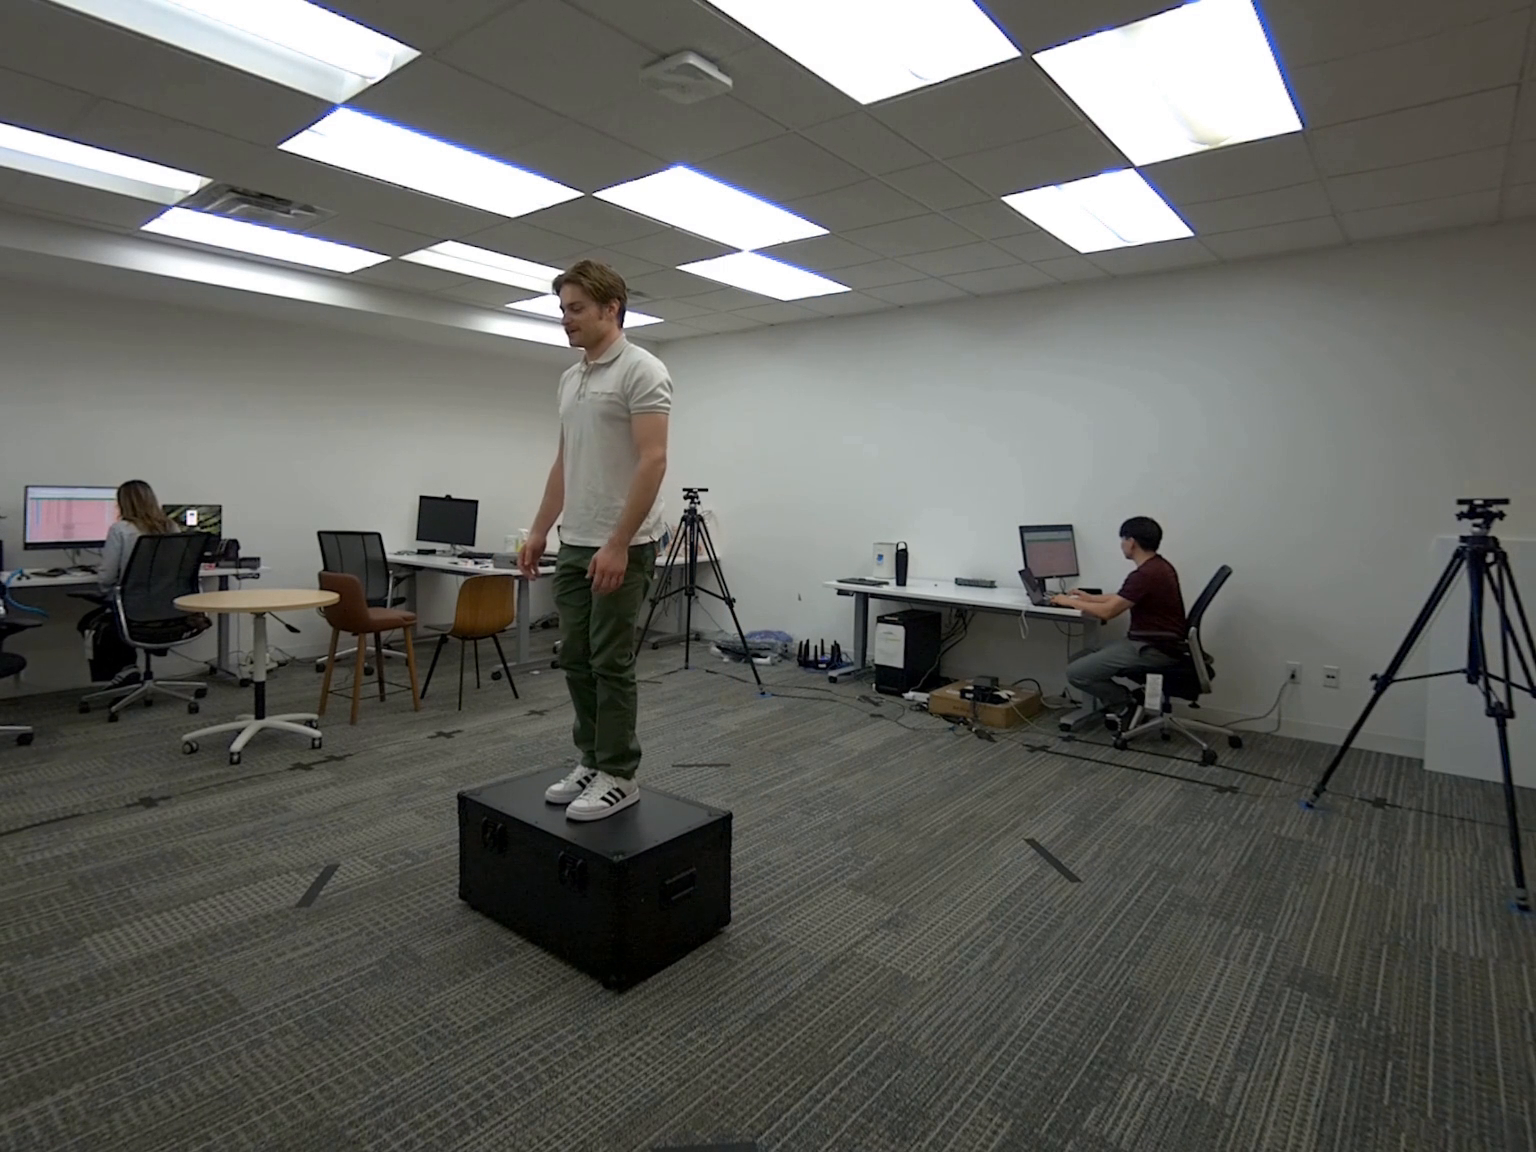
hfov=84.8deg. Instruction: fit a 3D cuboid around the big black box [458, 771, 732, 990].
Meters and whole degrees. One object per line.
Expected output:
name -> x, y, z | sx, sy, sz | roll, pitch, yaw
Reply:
big black box -> -0.603, 0.906, 2.763 | 0.897, 0.383, 0.508 | 5, 7, 39
